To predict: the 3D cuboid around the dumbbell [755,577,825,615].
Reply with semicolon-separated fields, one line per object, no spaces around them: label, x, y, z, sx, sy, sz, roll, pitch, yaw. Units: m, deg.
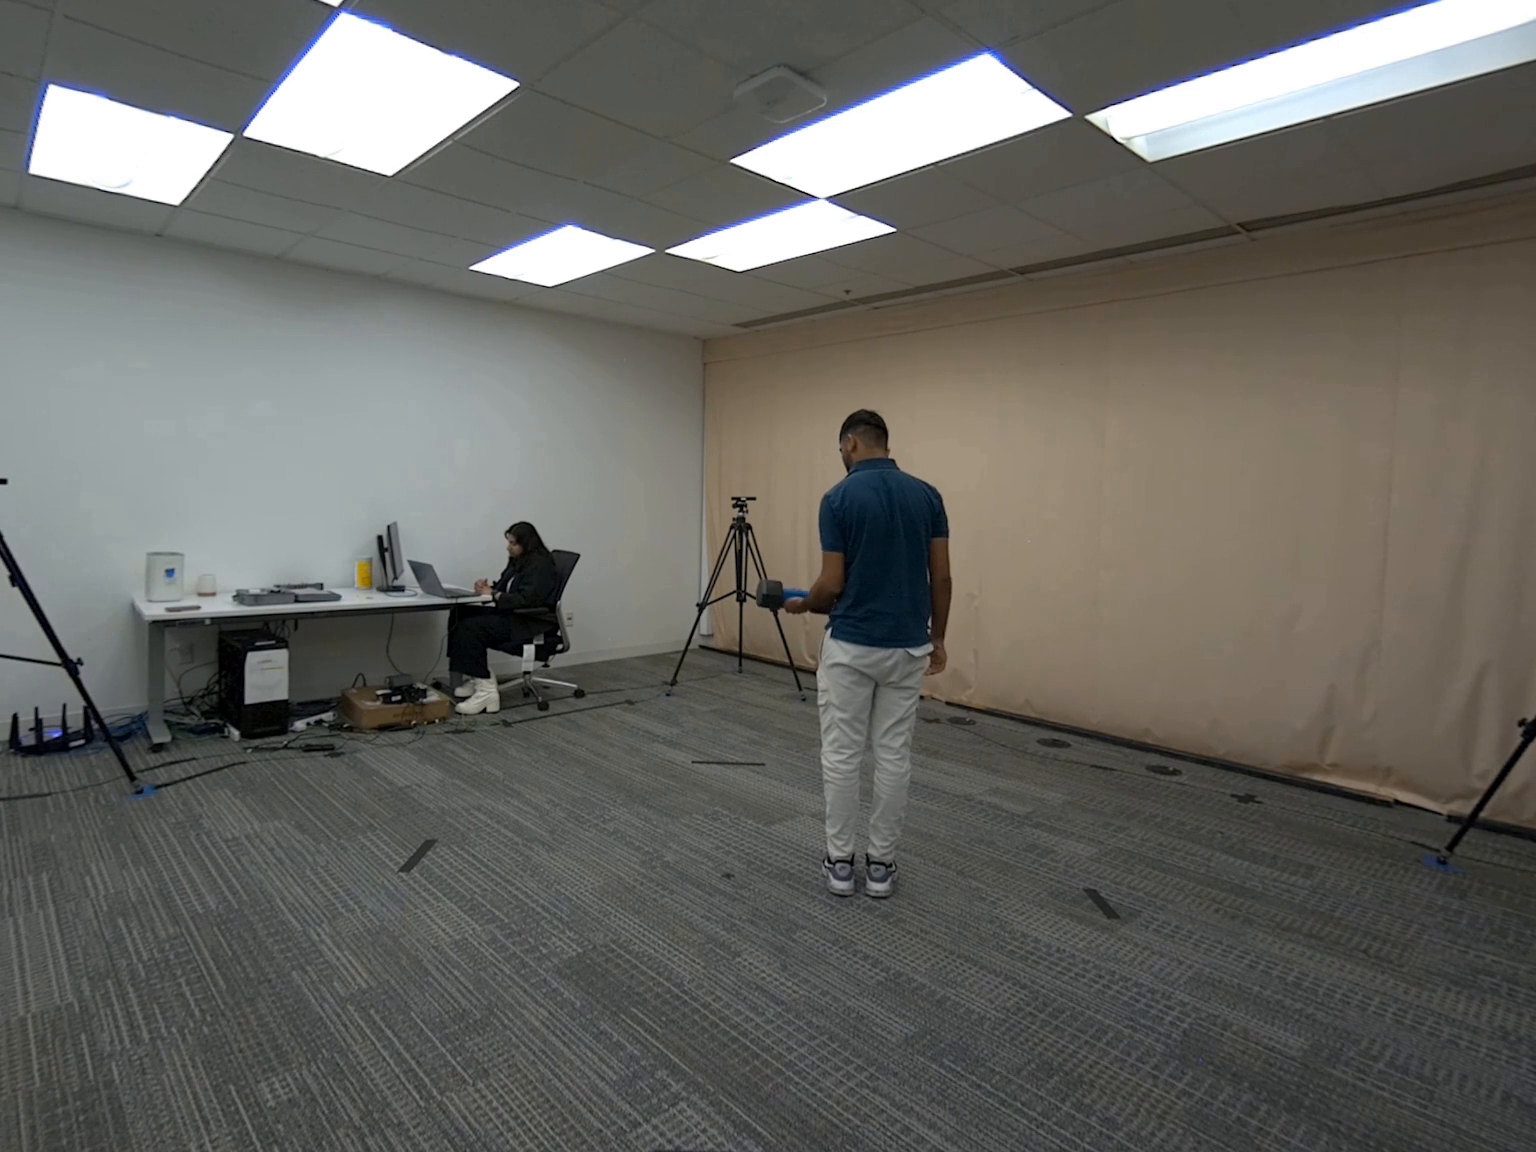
dumbbell;0.112;0.075;3.211;0.290;0.109;0.124;7;-4;-14
